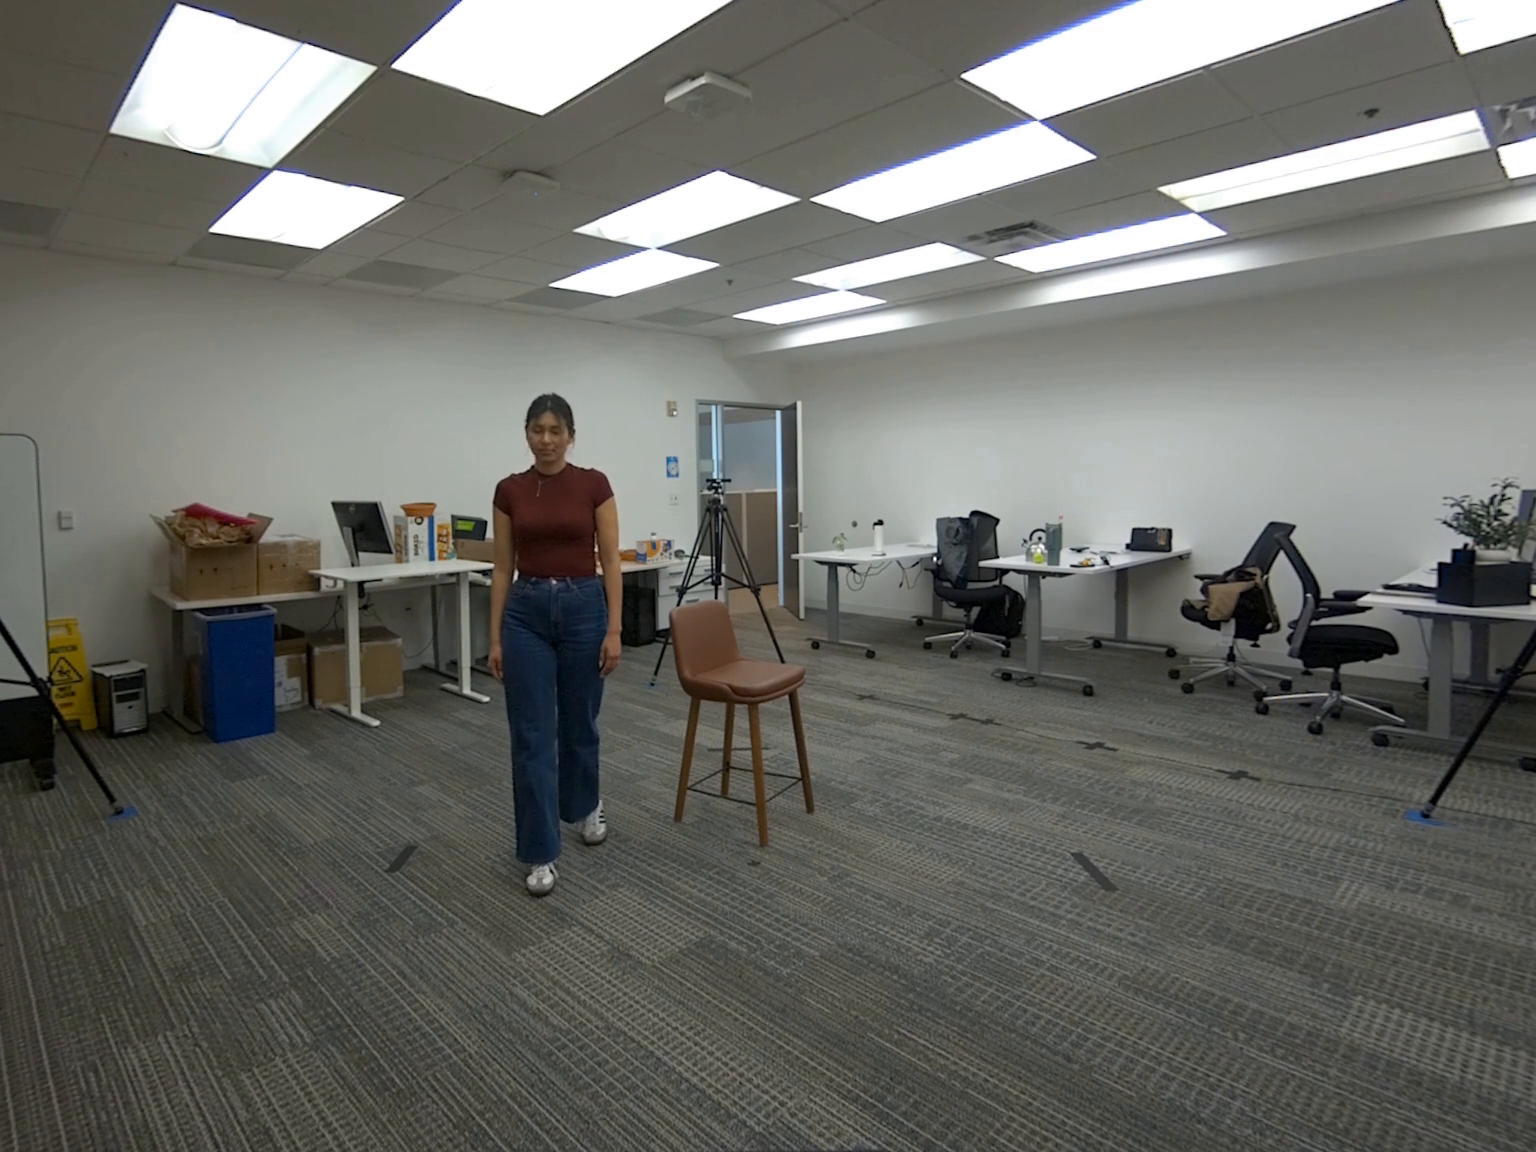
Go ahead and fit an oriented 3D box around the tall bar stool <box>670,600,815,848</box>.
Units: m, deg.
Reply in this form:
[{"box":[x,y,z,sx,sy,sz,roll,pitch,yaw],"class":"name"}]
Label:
[{"box":[-0.113,0.564,3.515,0.480,0.888,0.445,-1,3,33],"class":"tall bar stool"}]
